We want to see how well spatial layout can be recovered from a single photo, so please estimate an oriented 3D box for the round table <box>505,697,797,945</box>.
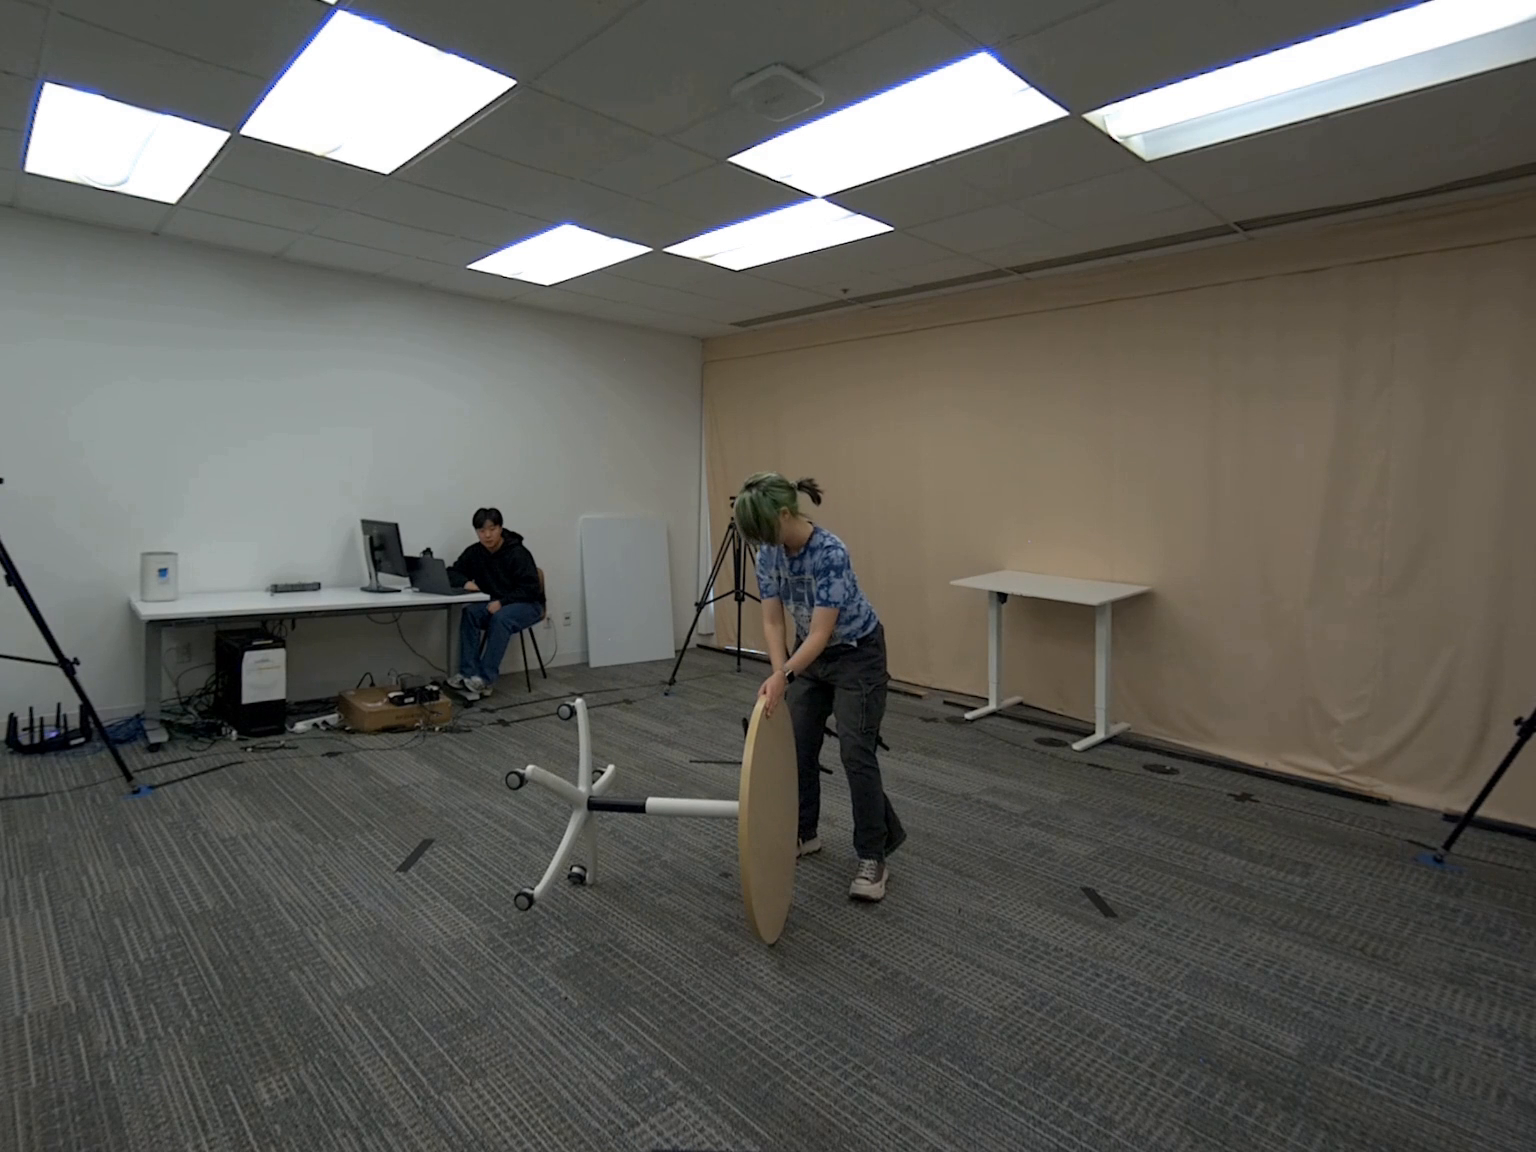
[{"bbox_3d":[-0.365,0.777,2.808,0.803,0.762,0.757,-2,3,14],"label":"round table"}]
